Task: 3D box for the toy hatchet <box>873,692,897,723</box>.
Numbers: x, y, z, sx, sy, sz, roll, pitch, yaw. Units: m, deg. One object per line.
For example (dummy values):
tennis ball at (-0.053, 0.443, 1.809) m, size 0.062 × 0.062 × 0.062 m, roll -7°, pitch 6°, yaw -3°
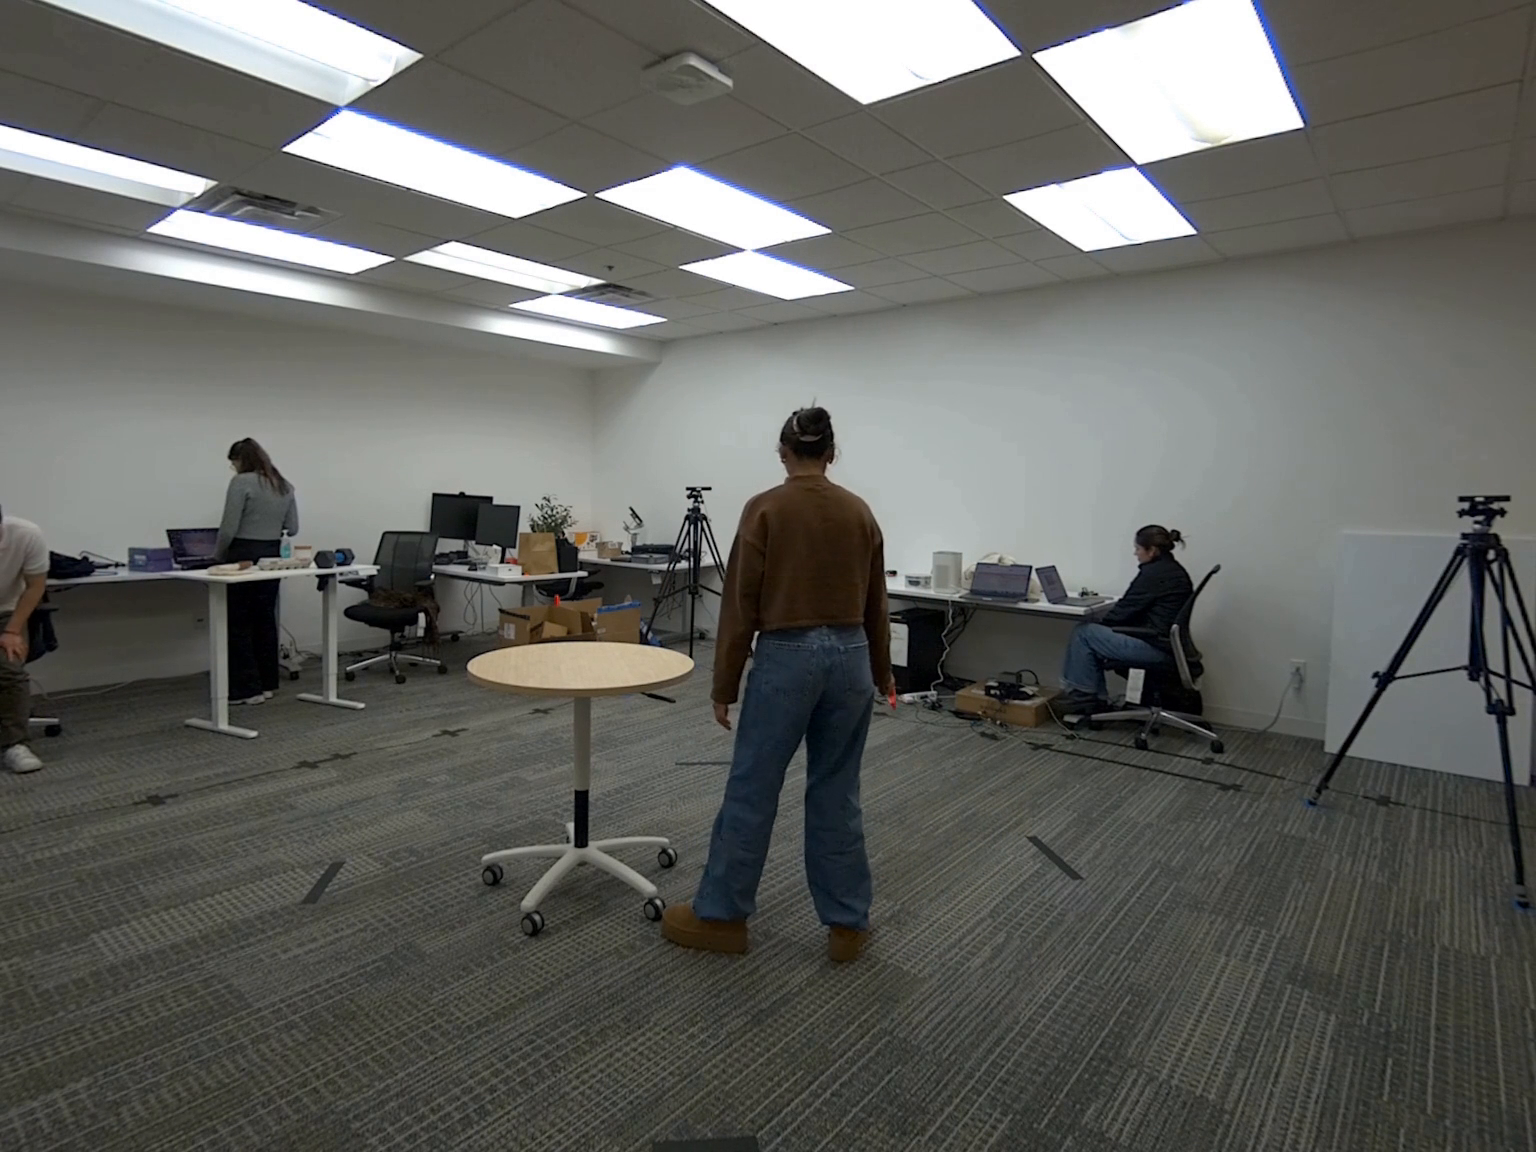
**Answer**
toy hatchet at (0.385, 0.395, 2.848) m, size 0.030 × 0.131 × 0.266 m, roll -18°, pitch -1°, yaw 16°
